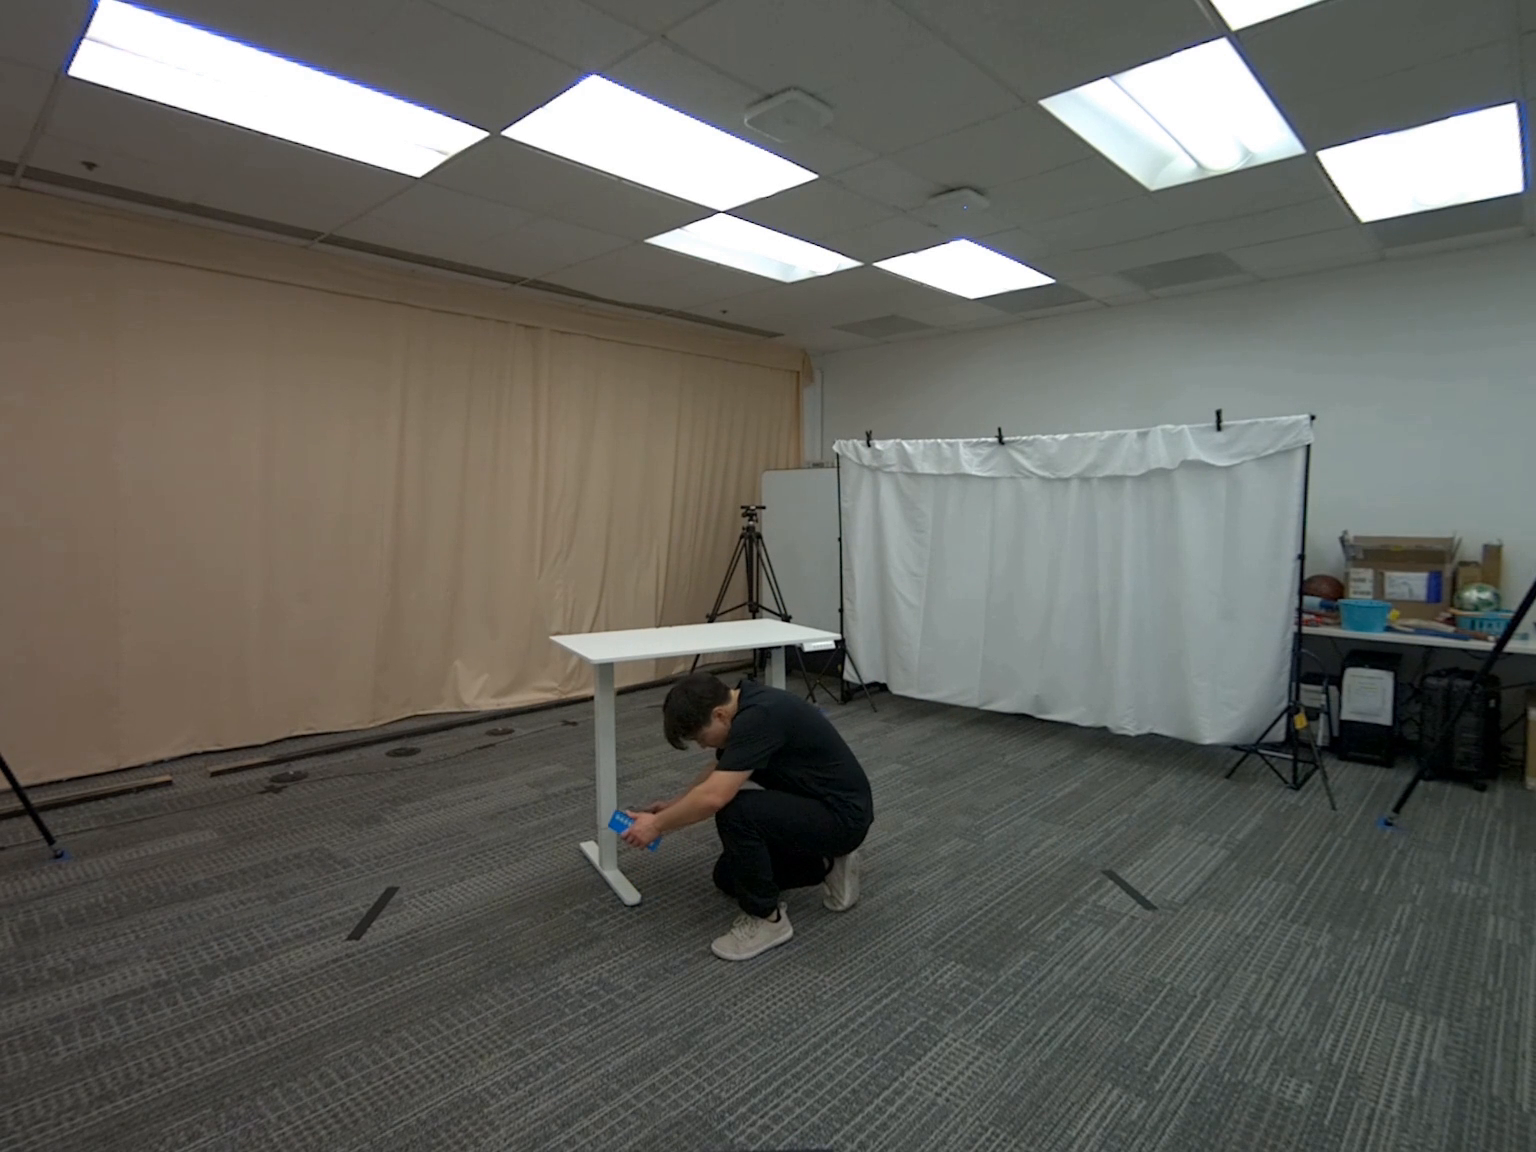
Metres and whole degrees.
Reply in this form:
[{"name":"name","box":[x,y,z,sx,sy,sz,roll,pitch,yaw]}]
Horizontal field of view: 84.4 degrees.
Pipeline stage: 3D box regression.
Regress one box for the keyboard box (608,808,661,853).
[{"name":"keyboard box","box":[-0.431,0.867,2.905,0.177,0.059,0.434,27,-12,3]}]
